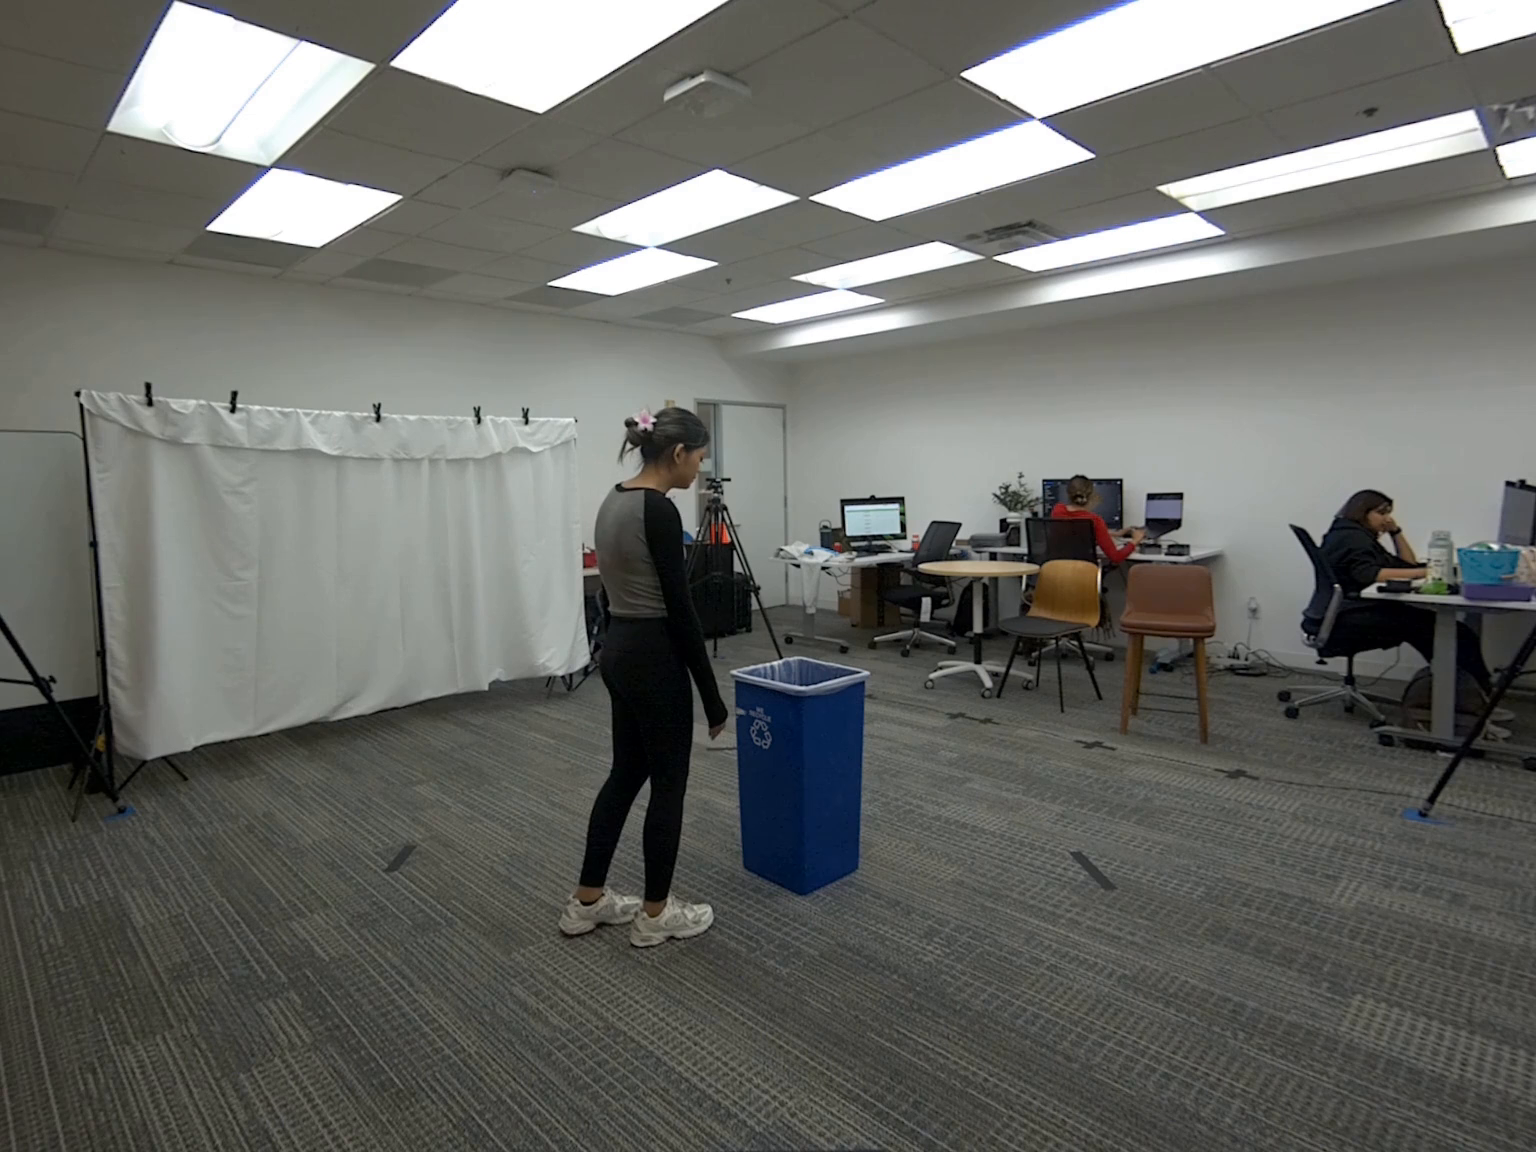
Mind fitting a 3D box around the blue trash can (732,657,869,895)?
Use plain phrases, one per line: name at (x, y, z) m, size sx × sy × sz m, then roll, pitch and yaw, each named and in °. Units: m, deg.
blue trash can at (0.122, 0.690, 3.031) m, size 0.368 × 0.711 × 0.385 m, roll -5°, pitch 6°, yaw -43°
